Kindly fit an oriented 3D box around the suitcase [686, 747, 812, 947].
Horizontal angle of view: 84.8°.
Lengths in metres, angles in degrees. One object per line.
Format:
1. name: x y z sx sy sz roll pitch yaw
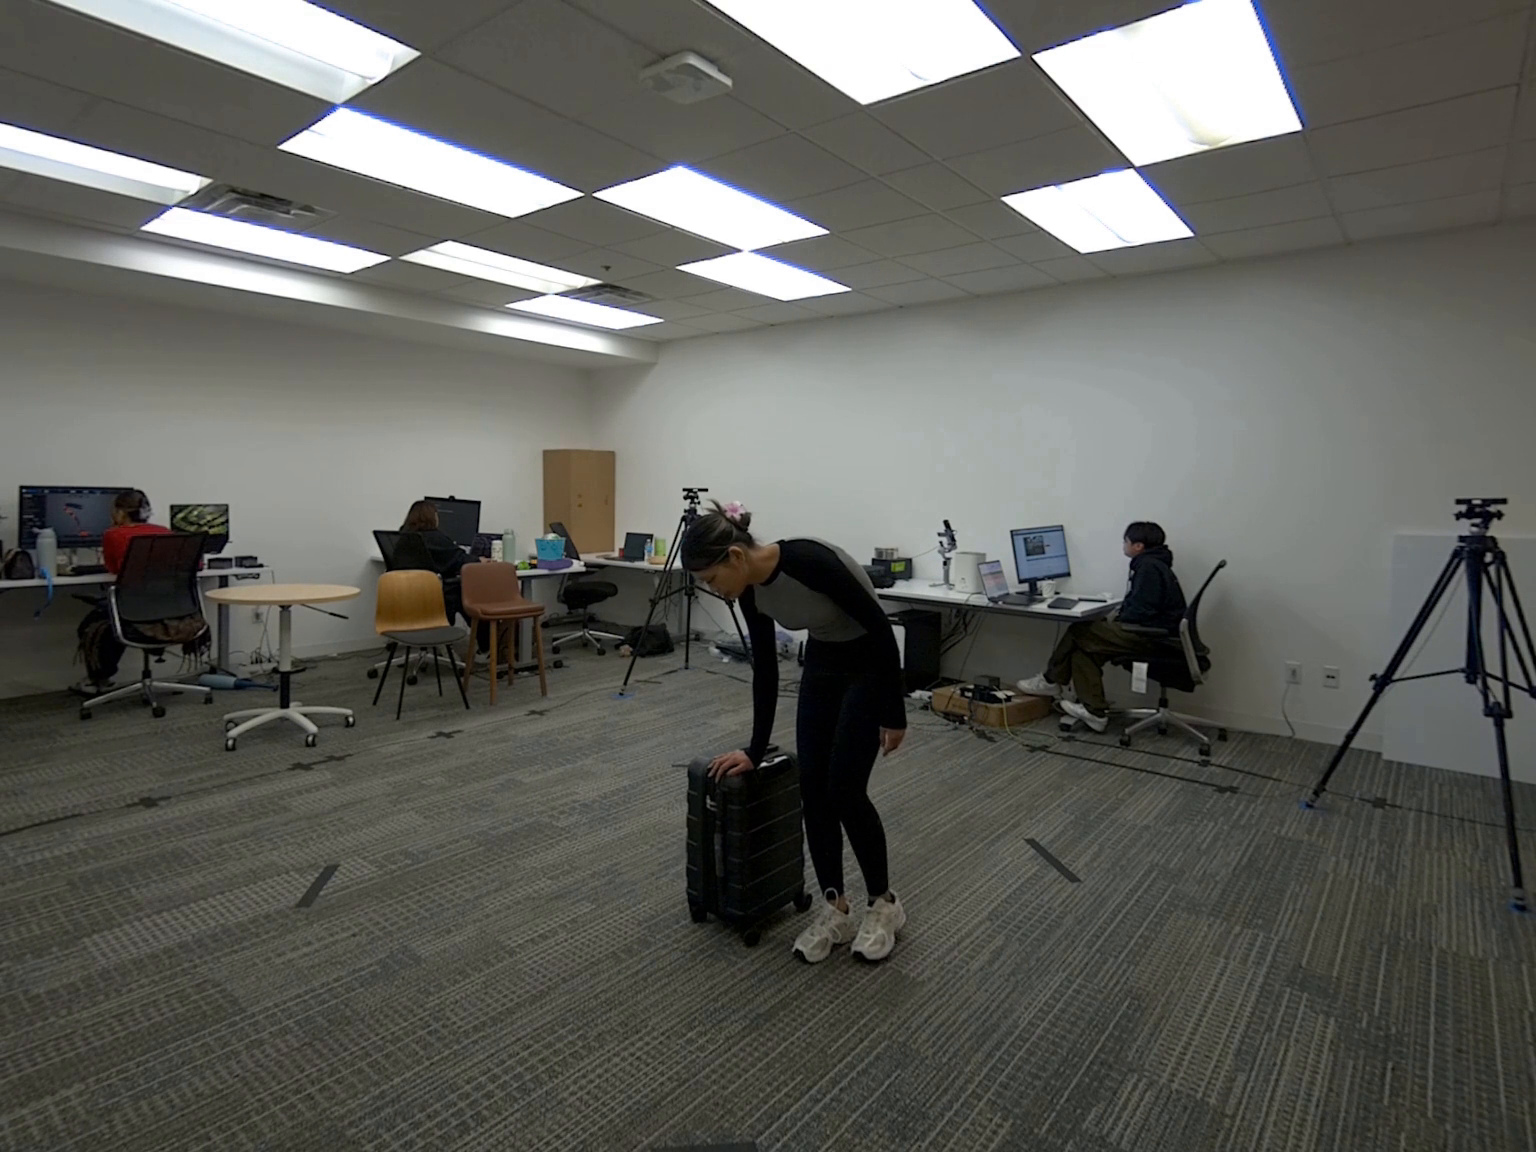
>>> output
1. suitcase: -0.080 0.830 2.766 0.256 0.548 0.364 2 4 40
